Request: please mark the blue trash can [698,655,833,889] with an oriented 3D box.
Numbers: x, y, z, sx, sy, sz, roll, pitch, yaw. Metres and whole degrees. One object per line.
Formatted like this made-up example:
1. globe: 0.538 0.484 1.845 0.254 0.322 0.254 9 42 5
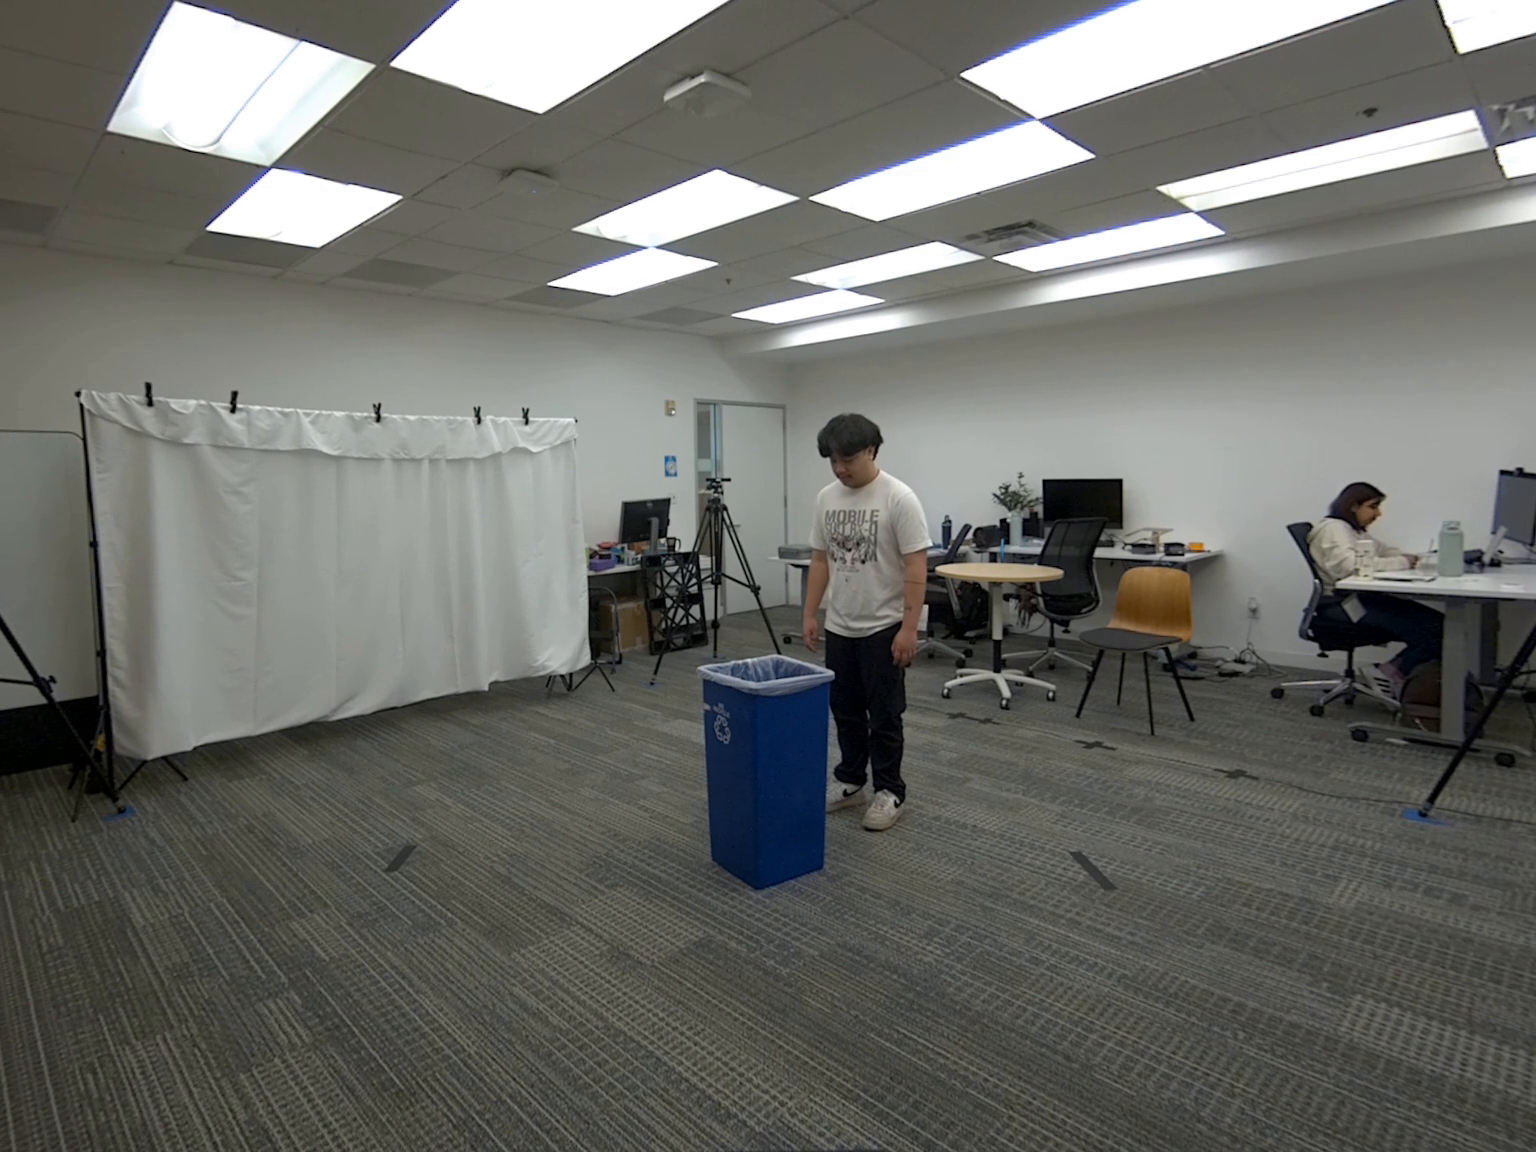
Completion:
1. blue trash can: 0.000 0.686 3.068 0.368 0.711 0.385 -4 5 -35
